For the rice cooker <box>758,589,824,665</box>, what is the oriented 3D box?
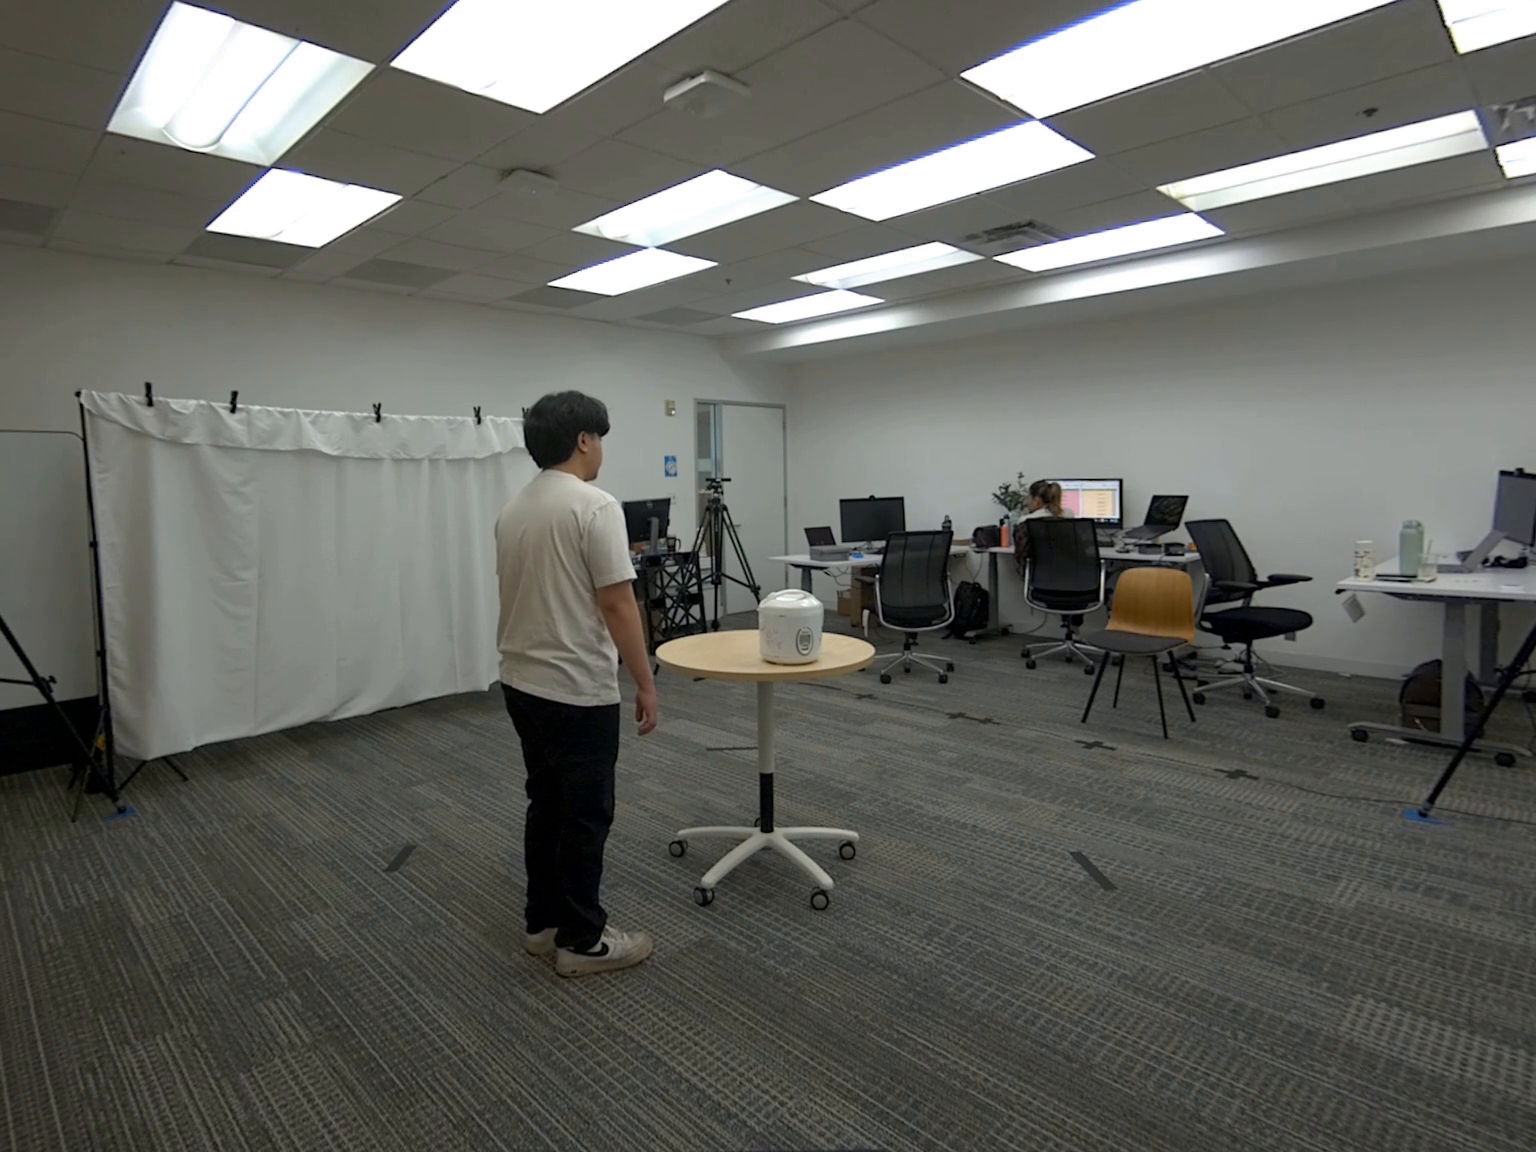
[{"bbox_3d":[0.081,0.161,2.803,0.217,0.232,0.222,-3,4,-21],"label":"rice cooker"}]
